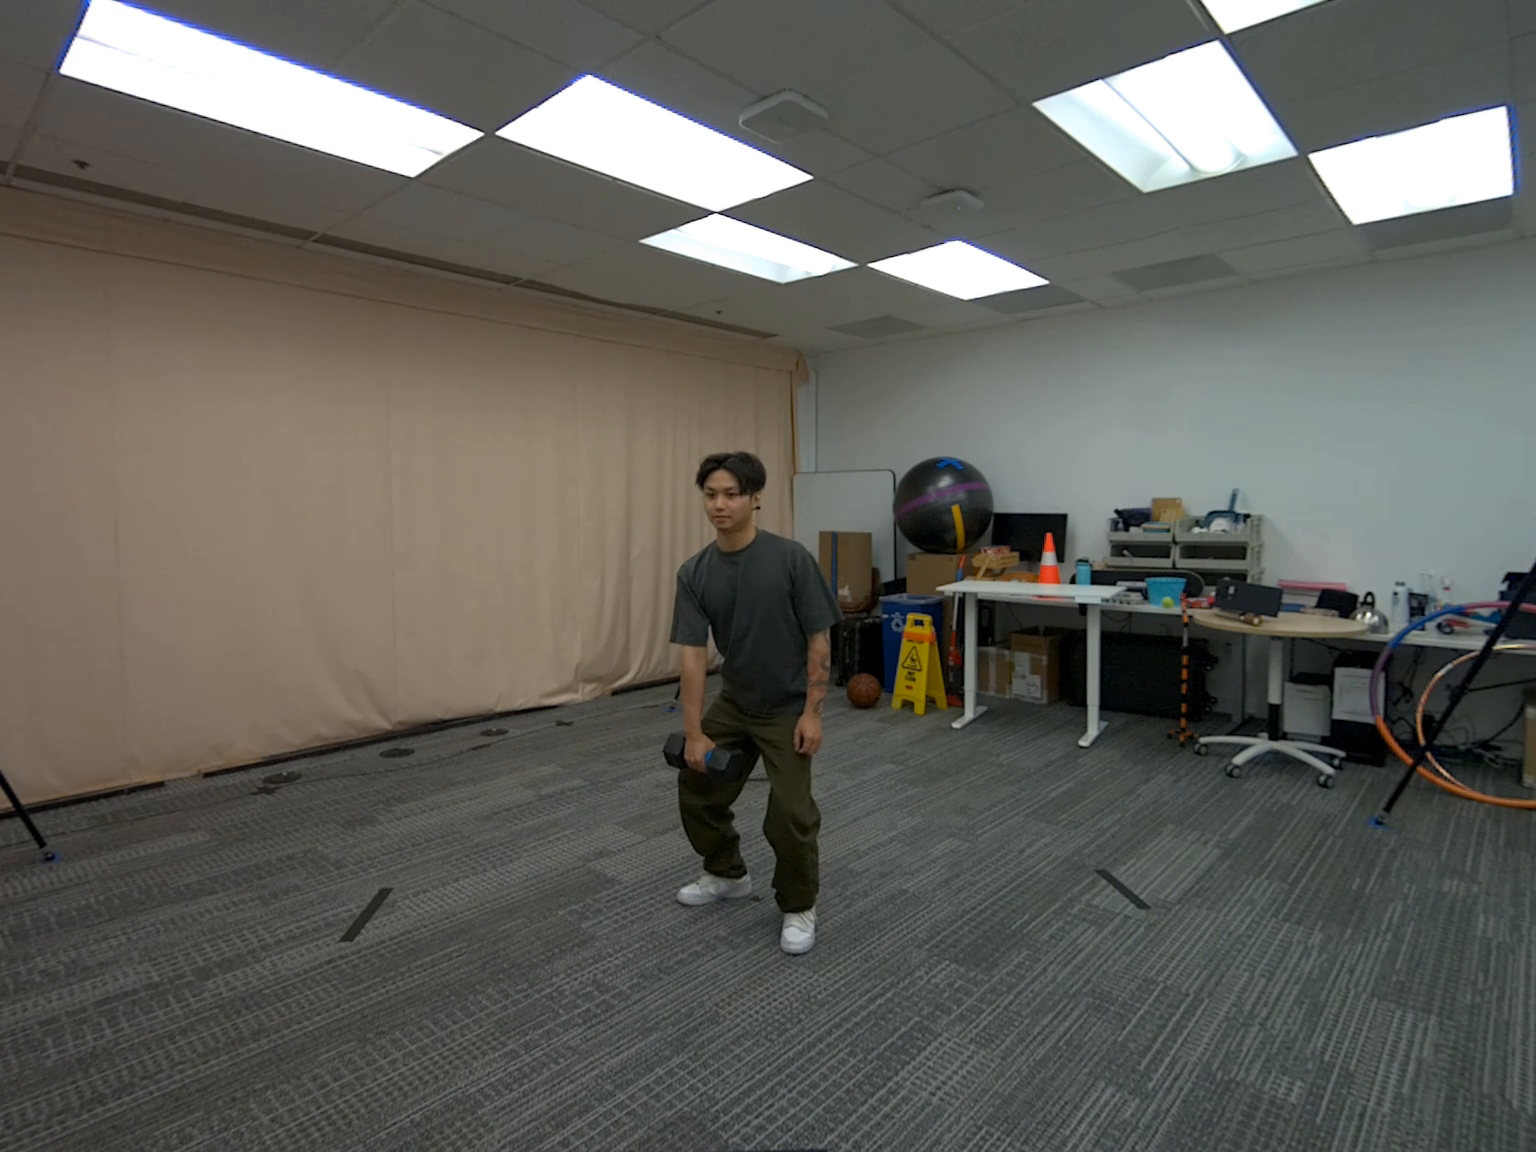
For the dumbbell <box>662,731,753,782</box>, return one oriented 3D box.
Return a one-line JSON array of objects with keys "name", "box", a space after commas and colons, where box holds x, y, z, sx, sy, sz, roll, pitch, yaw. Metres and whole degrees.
[{"name": "dumbbell", "box": [-0.202, 0.590, 2.736, 0.303, 0.120, 0.107, 5, 32, 44]}]
